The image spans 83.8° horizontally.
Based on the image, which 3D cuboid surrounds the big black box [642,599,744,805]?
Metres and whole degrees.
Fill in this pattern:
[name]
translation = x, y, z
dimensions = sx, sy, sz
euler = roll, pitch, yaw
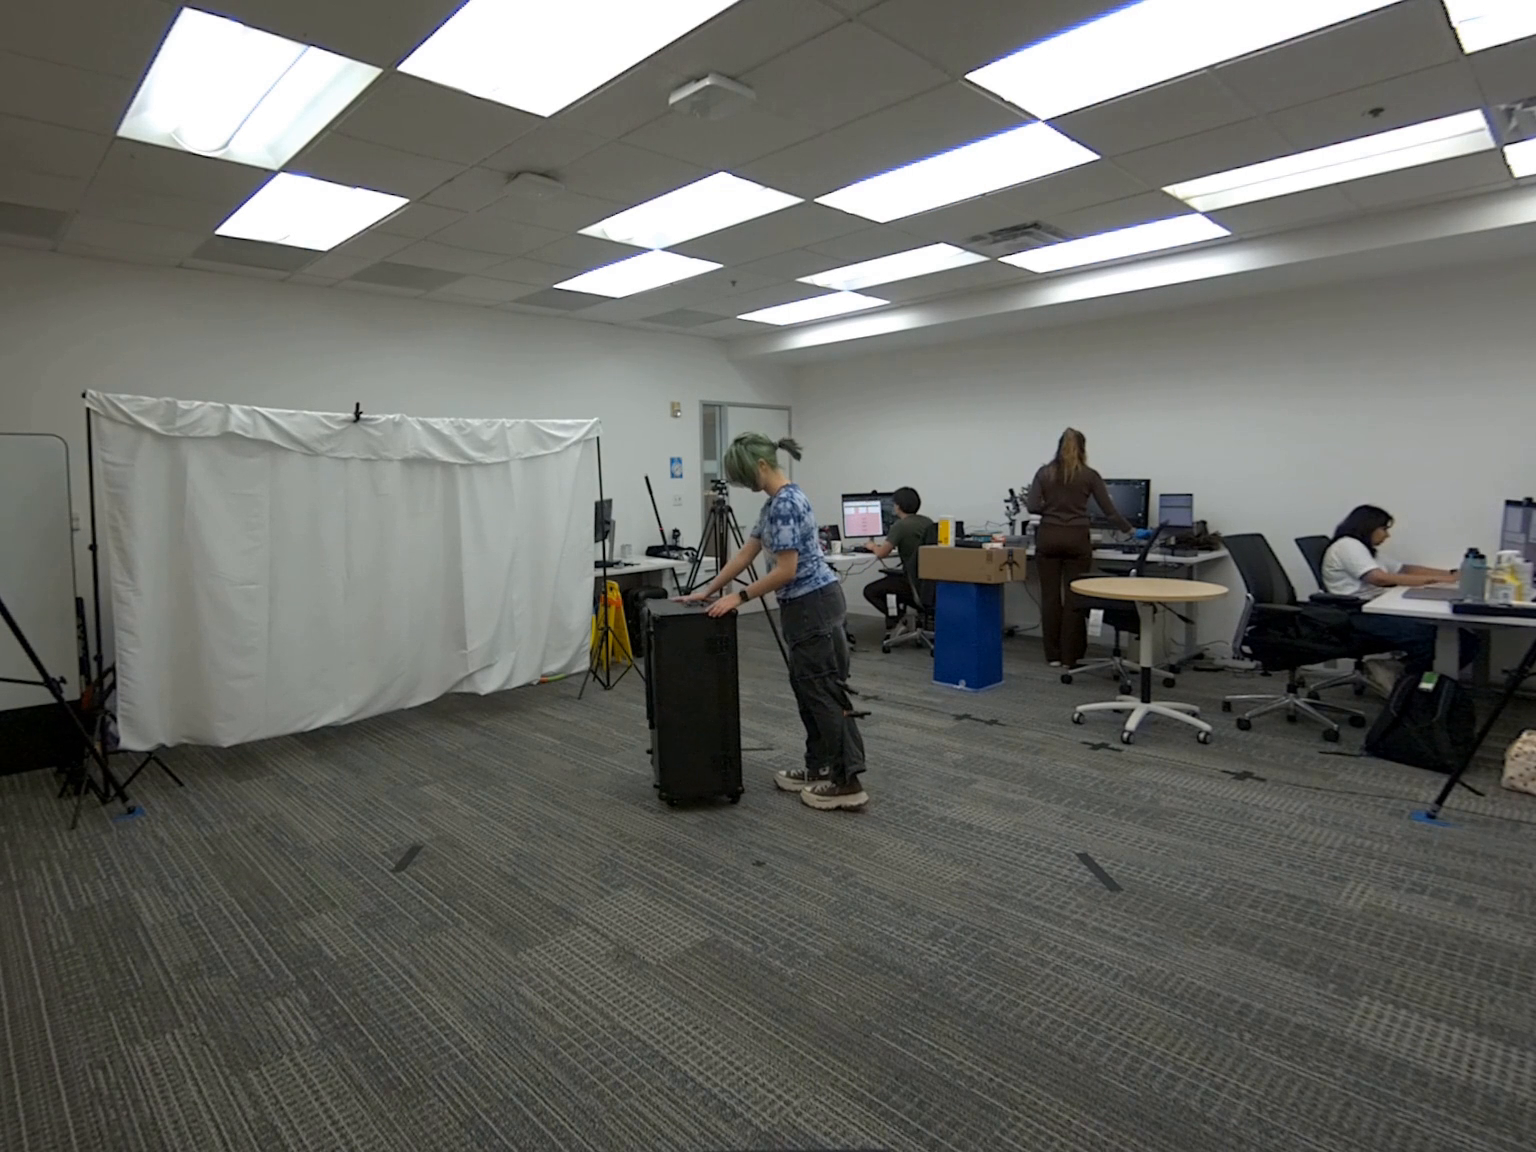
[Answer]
[big black box]
translation = -0.346, 0.553, 3.792
dimensions = 0.393, 0.858, 0.528
euler = -4, 5, -10
